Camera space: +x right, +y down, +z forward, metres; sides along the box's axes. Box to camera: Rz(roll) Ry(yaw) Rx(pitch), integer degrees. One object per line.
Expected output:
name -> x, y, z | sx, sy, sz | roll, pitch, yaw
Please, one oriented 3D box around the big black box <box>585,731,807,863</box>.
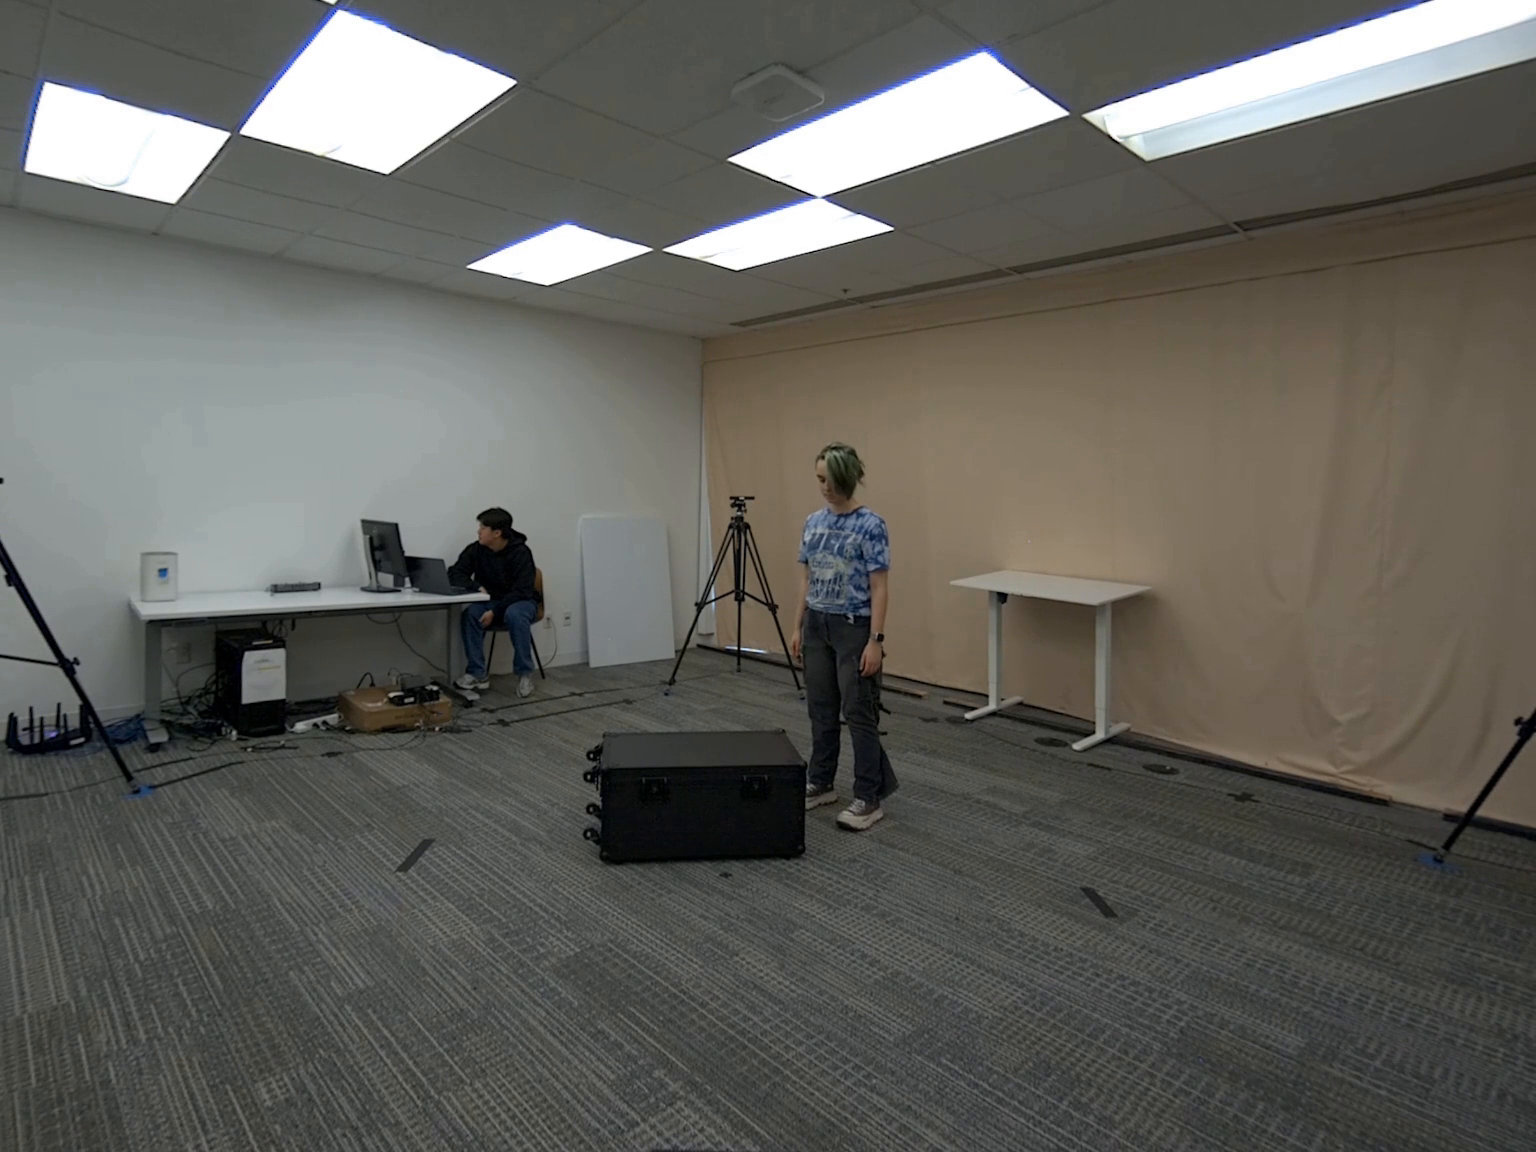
big black box -> -0.260, 0.881, 3.423 | 0.856, 0.395, 0.526 | 0, 5, -8
